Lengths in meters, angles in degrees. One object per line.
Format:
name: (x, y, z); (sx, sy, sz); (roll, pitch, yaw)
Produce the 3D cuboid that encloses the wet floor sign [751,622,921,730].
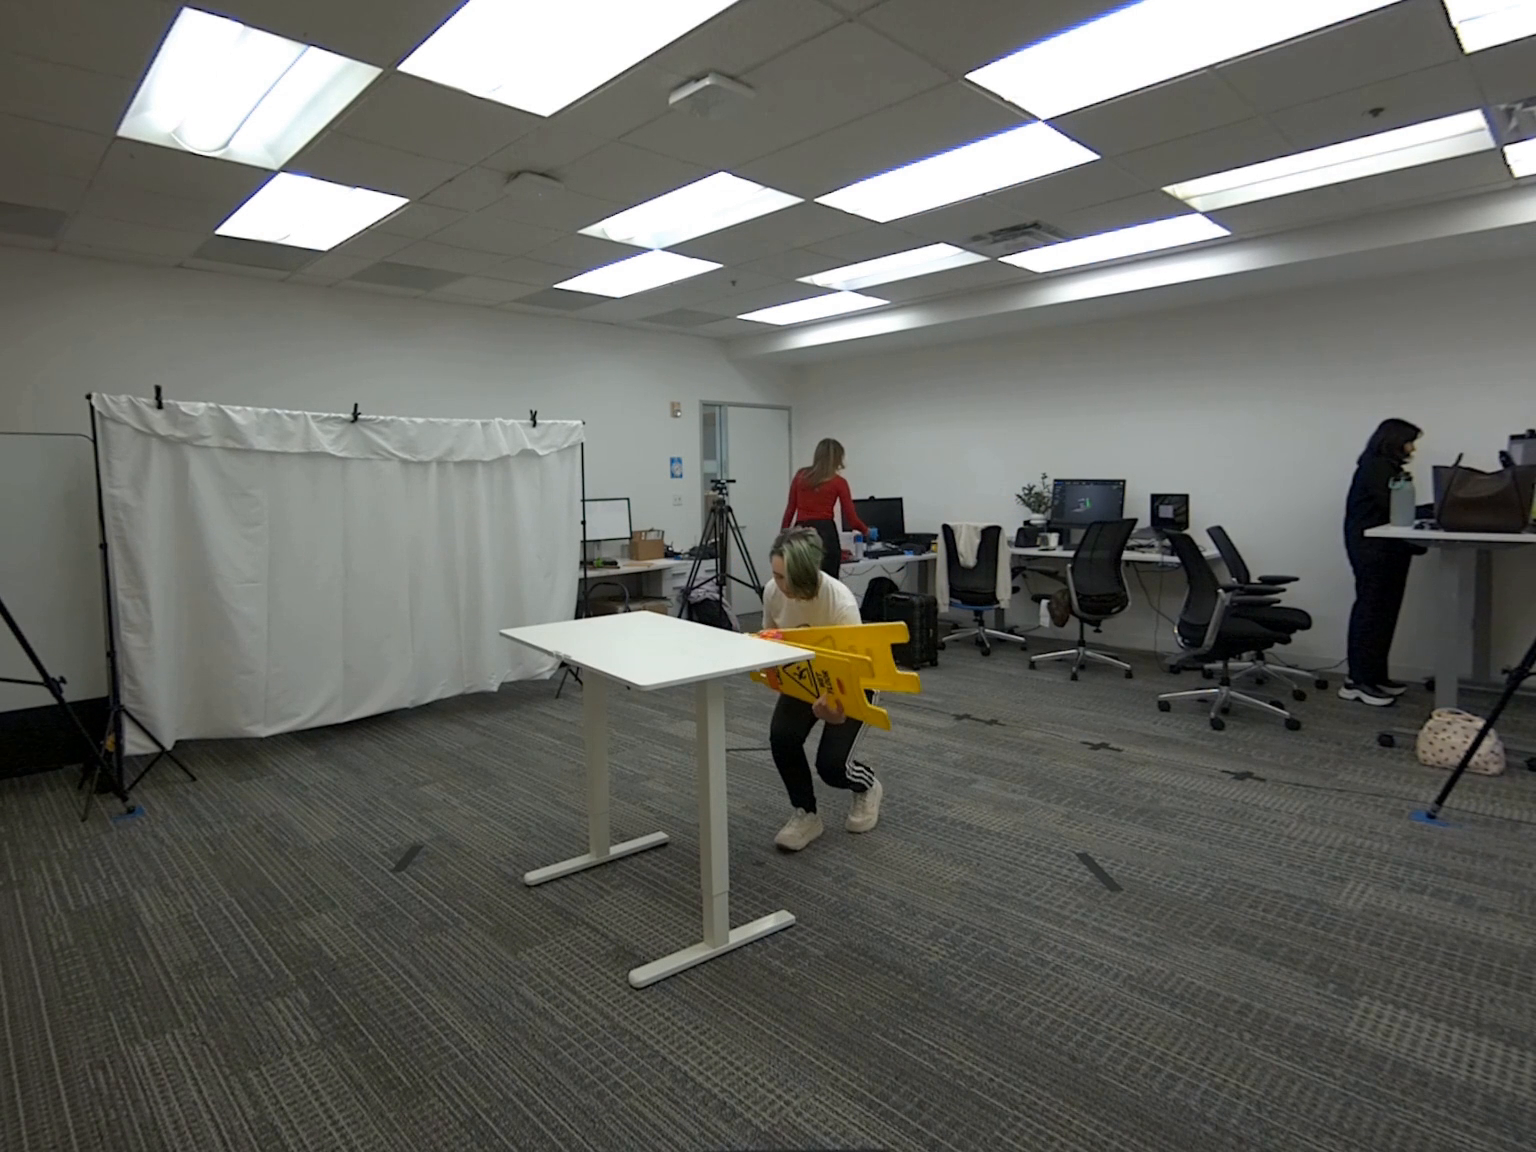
wet floor sign: (0.174, 0.318, 3.035); (0.665, 0.277, 0.287); (2, 25, 39)
